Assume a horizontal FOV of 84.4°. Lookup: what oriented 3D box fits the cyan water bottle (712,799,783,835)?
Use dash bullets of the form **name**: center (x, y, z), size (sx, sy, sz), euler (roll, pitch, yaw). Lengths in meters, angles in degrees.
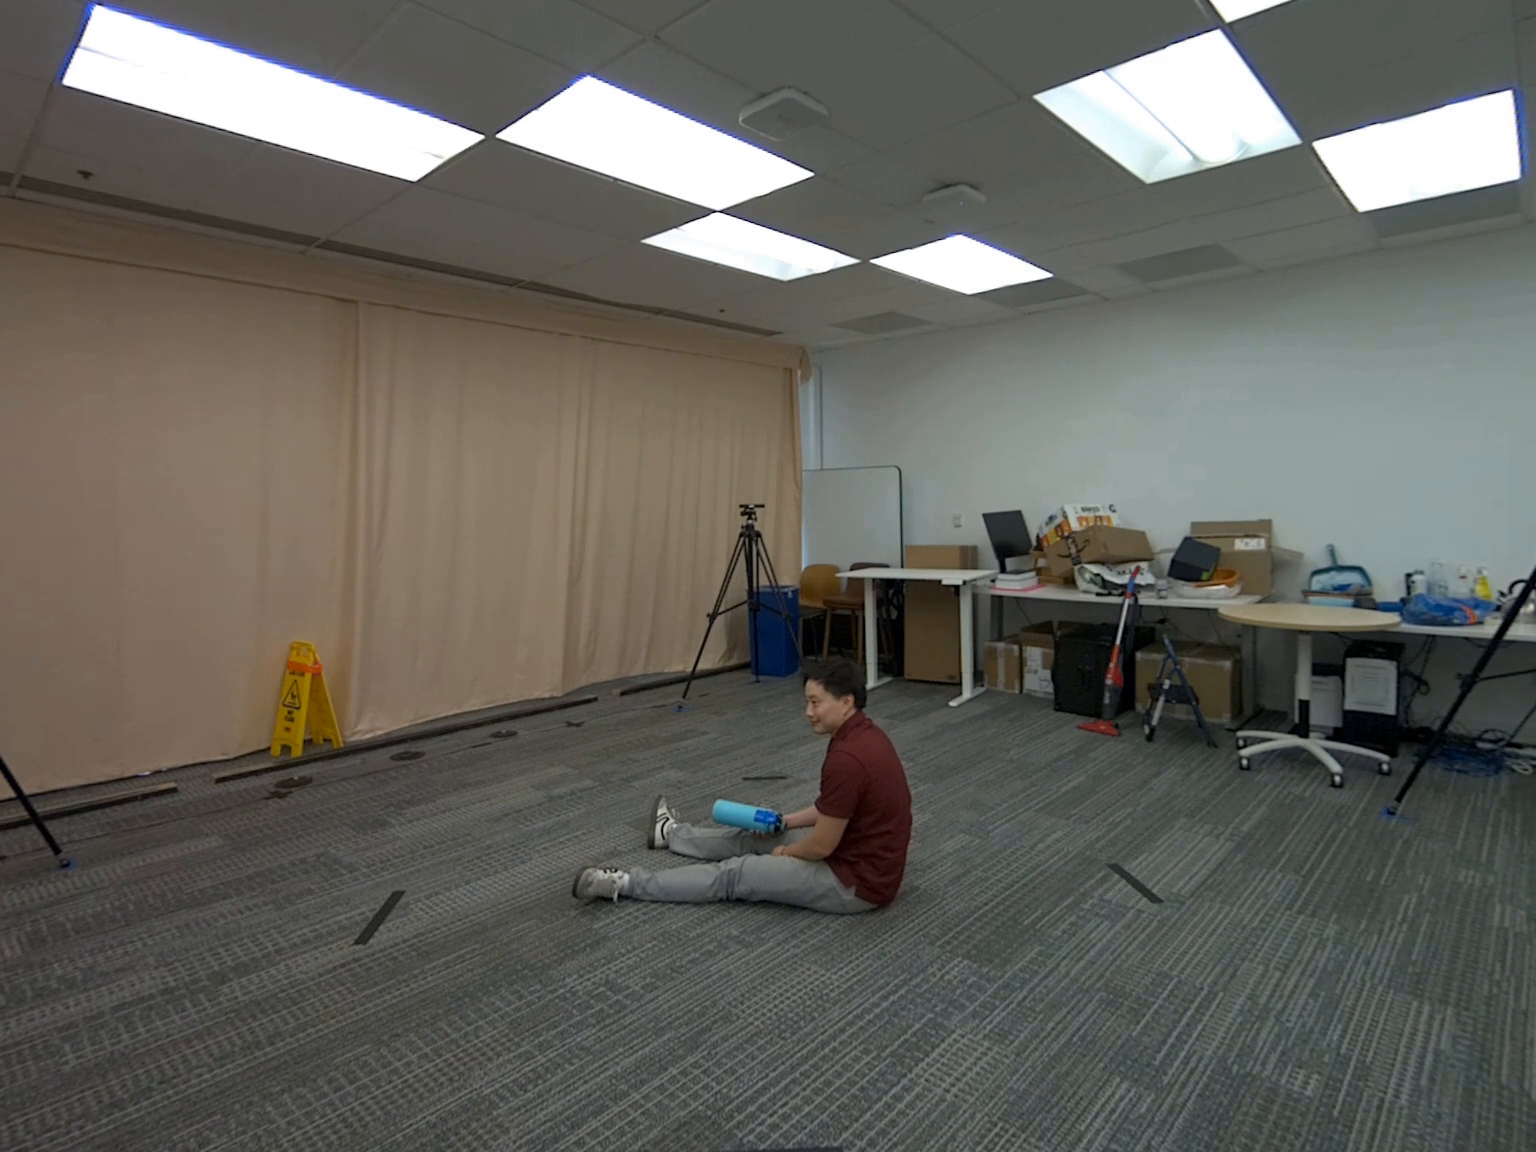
- **cyan water bottle**: center (-0.063, 0.925, 3.202), size (0.291, 0.092, 0.090), euler (3, 5, 26)
